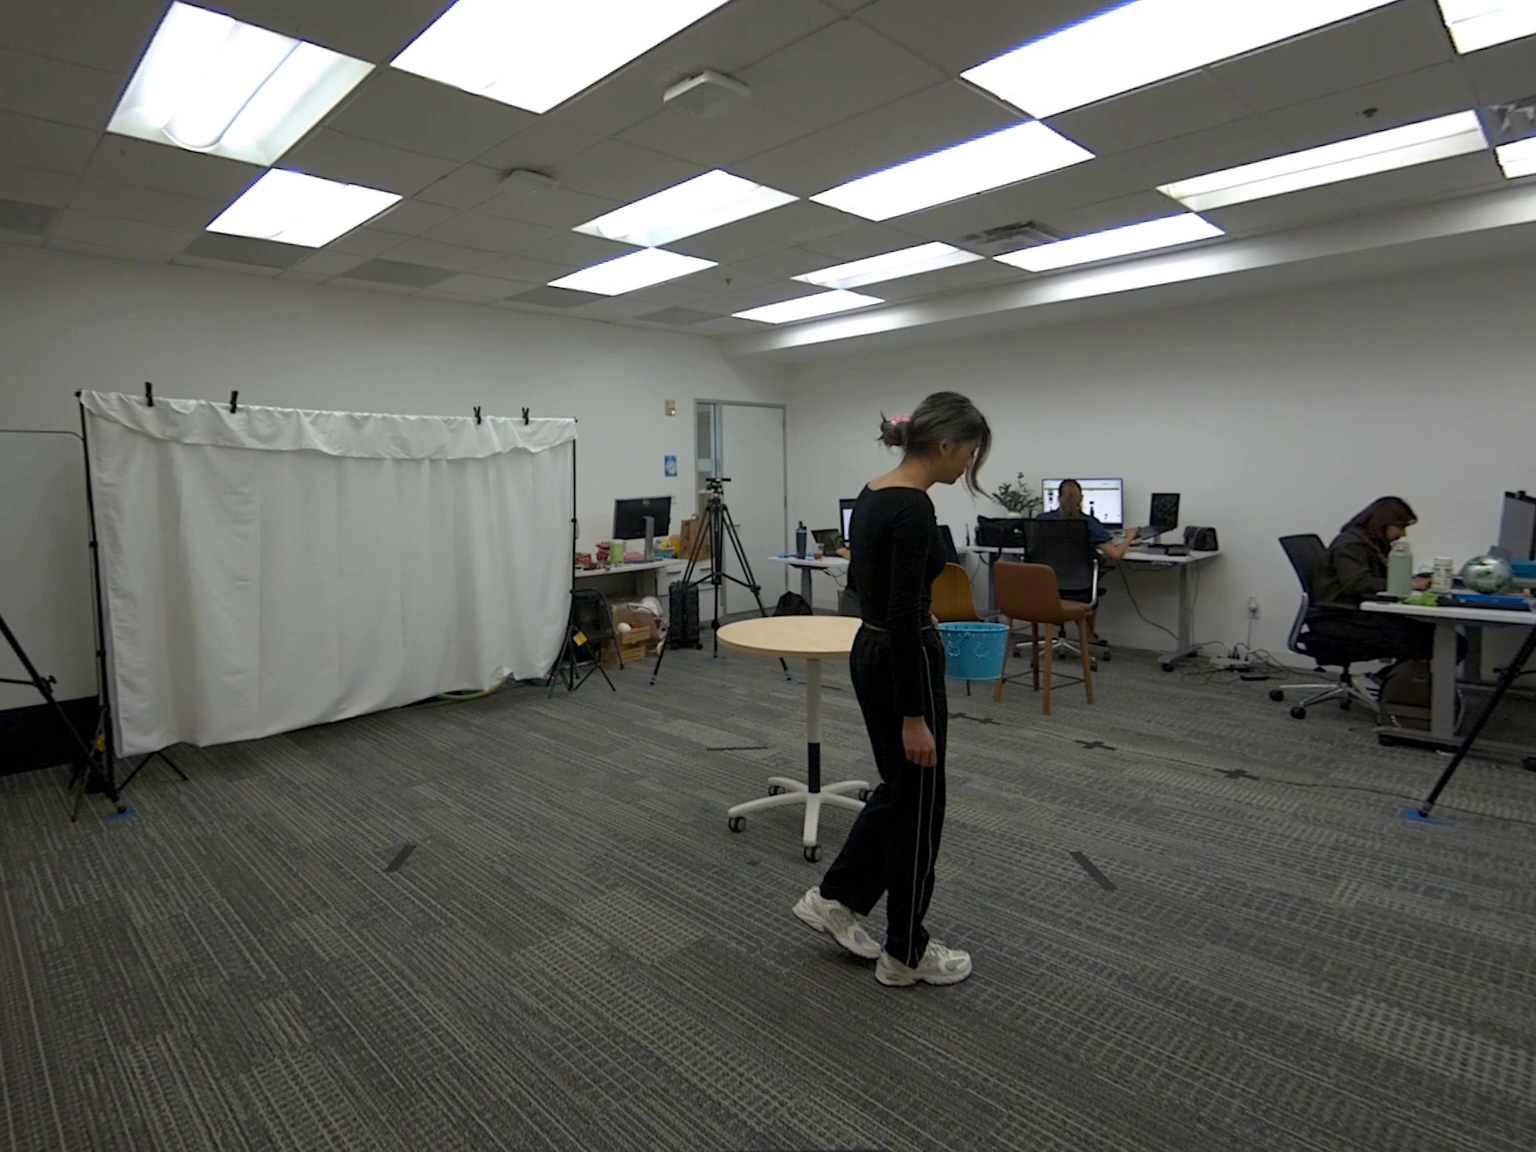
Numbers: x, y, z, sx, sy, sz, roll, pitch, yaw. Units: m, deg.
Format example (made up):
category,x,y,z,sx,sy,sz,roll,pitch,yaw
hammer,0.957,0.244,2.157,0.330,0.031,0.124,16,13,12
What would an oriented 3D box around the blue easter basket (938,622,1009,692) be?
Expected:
category,x,y,z,sx,sy,sz,roll,pitch,yaw
blue easter basket,0.642,0.233,2.663,0.243,0.156,0.244,-1,2,-2
